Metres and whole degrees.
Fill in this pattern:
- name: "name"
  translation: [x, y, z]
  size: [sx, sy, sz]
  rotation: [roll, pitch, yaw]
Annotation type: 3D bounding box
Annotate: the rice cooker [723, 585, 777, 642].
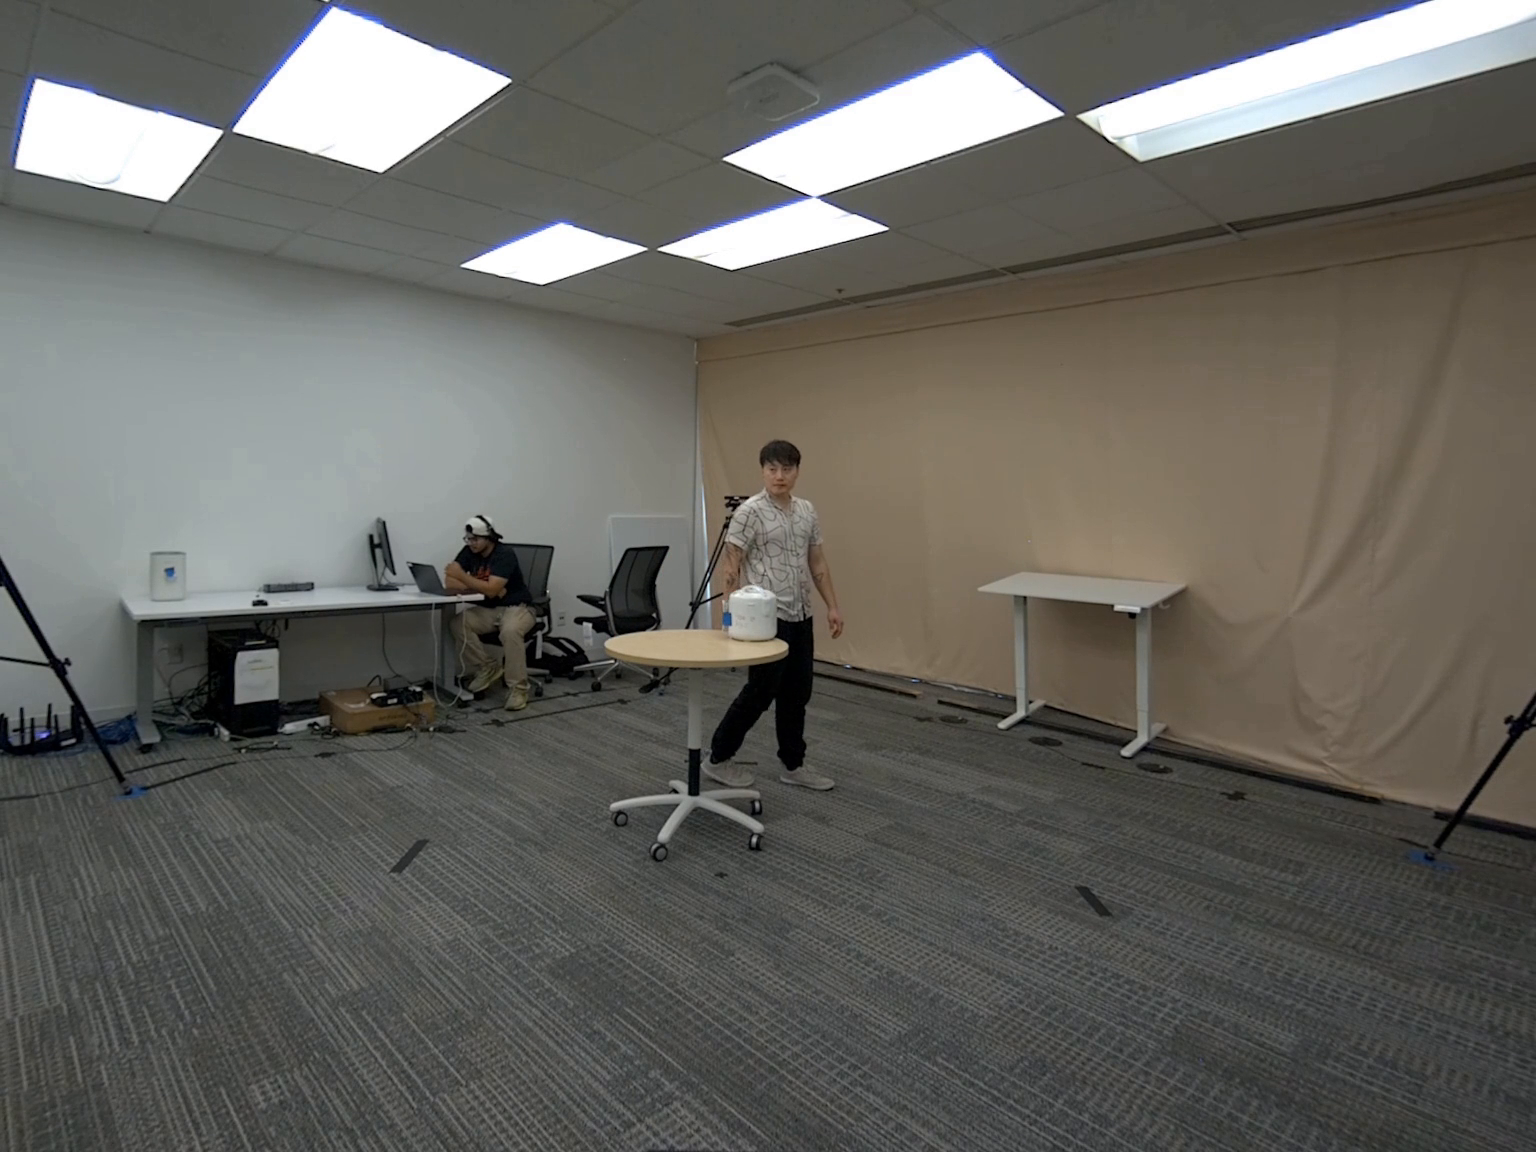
- name: "rice cooker"
  translation: [-0.077, 0.157, 3.667]
  size: [0.213, 0.232, 0.226]
  rotation: [-2, 6, -36]
